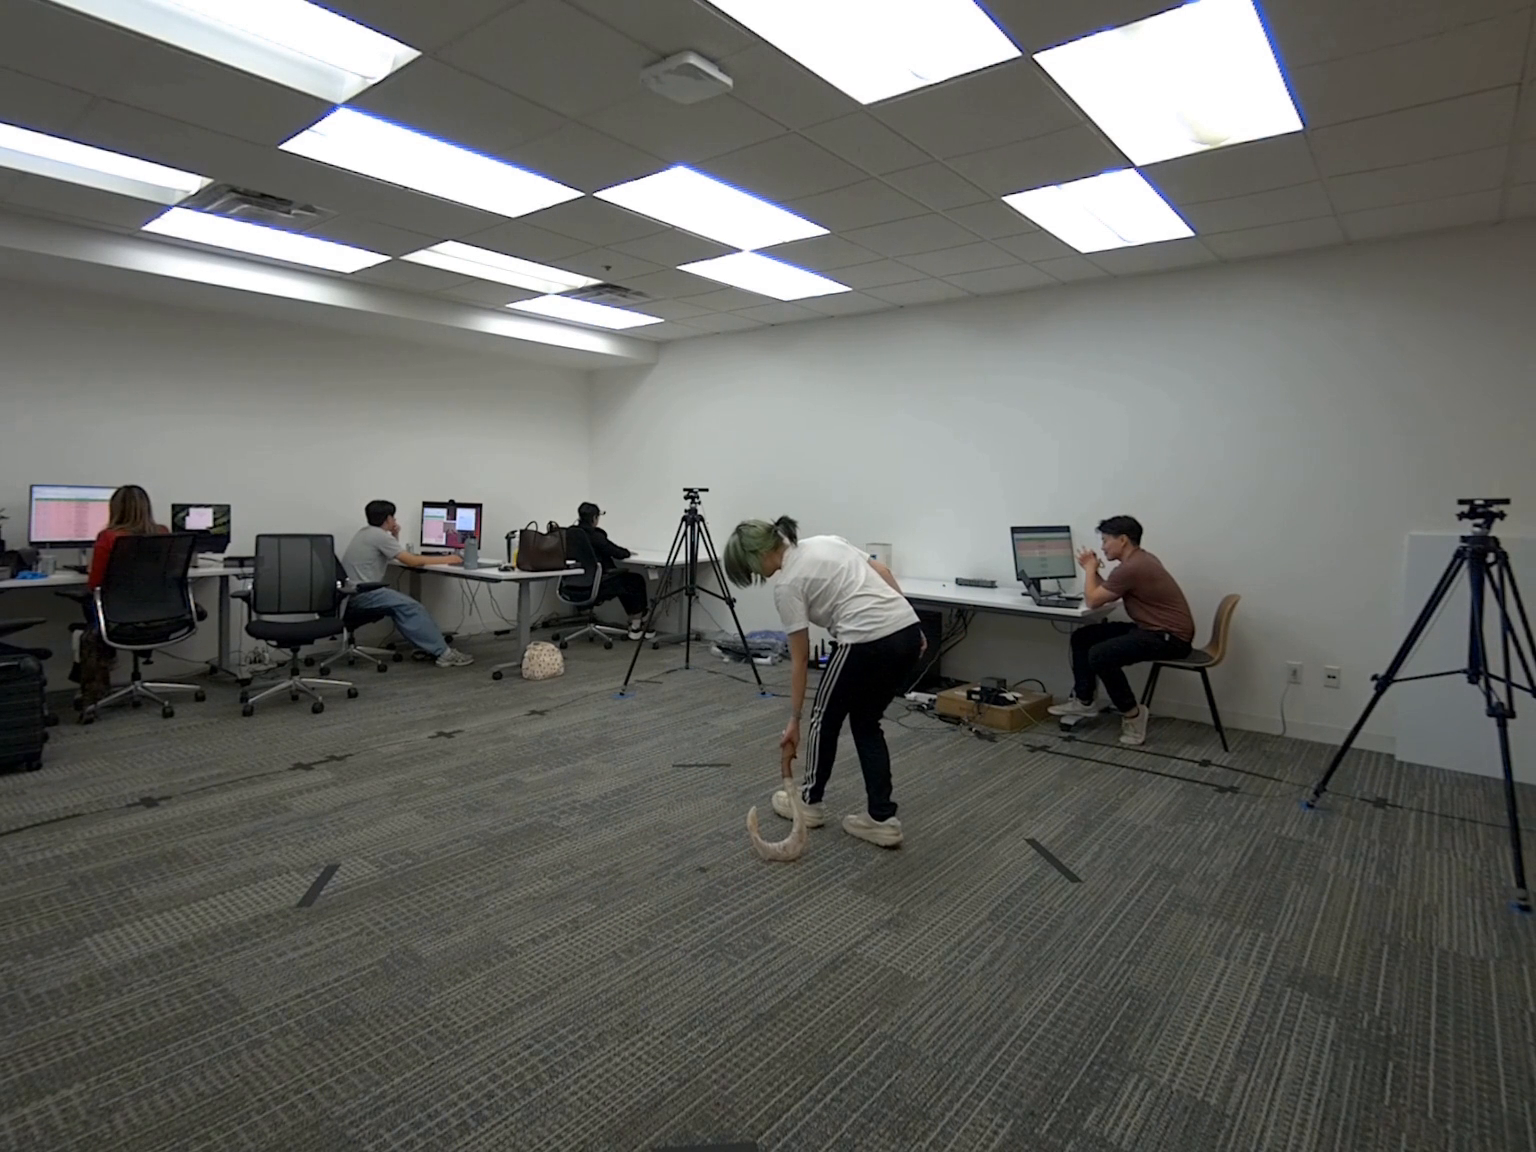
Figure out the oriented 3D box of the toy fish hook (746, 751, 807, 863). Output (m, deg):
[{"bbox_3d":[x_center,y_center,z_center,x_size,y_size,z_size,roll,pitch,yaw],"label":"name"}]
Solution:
[{"bbox_3d":[0.025,0.839,3.312,0.223,0.519,0.047,3,-30,-4],"label":"toy fish hook"}]
